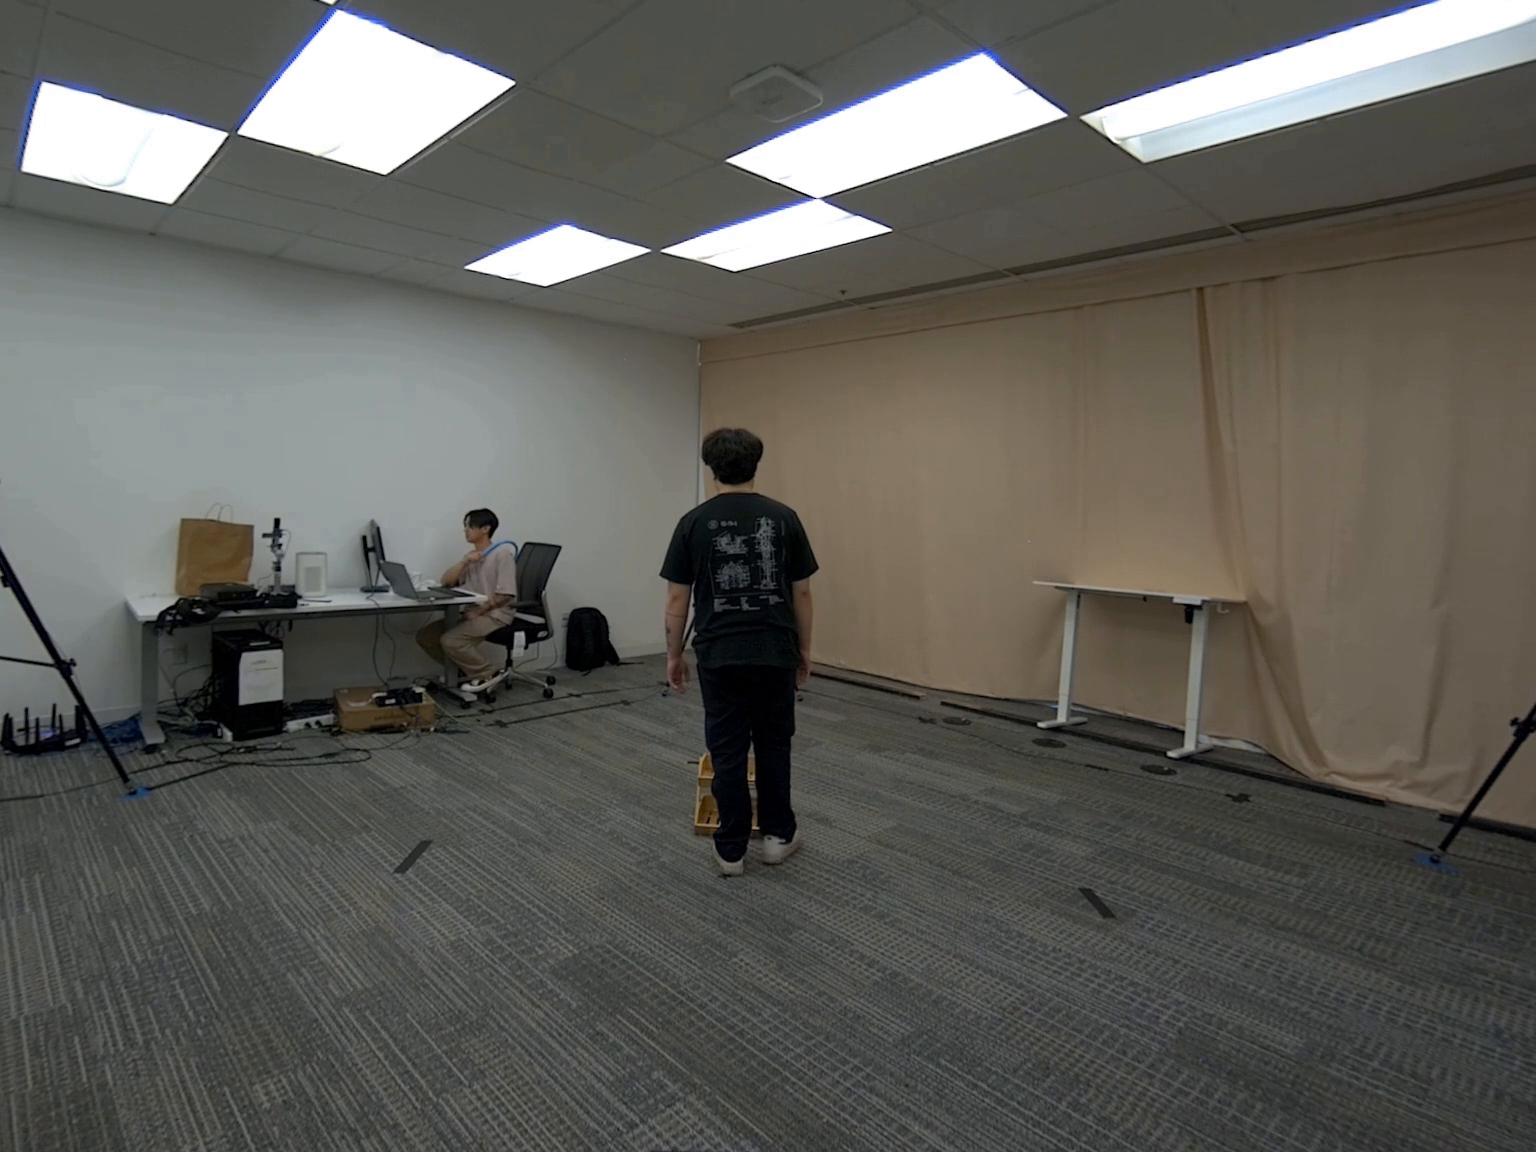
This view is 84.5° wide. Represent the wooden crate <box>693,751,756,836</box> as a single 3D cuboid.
[{"bbox_3d":[-0.150,0.935,3.593,0.326,0.273,0.302,2,4,4],"label":"wooden crate"}]
